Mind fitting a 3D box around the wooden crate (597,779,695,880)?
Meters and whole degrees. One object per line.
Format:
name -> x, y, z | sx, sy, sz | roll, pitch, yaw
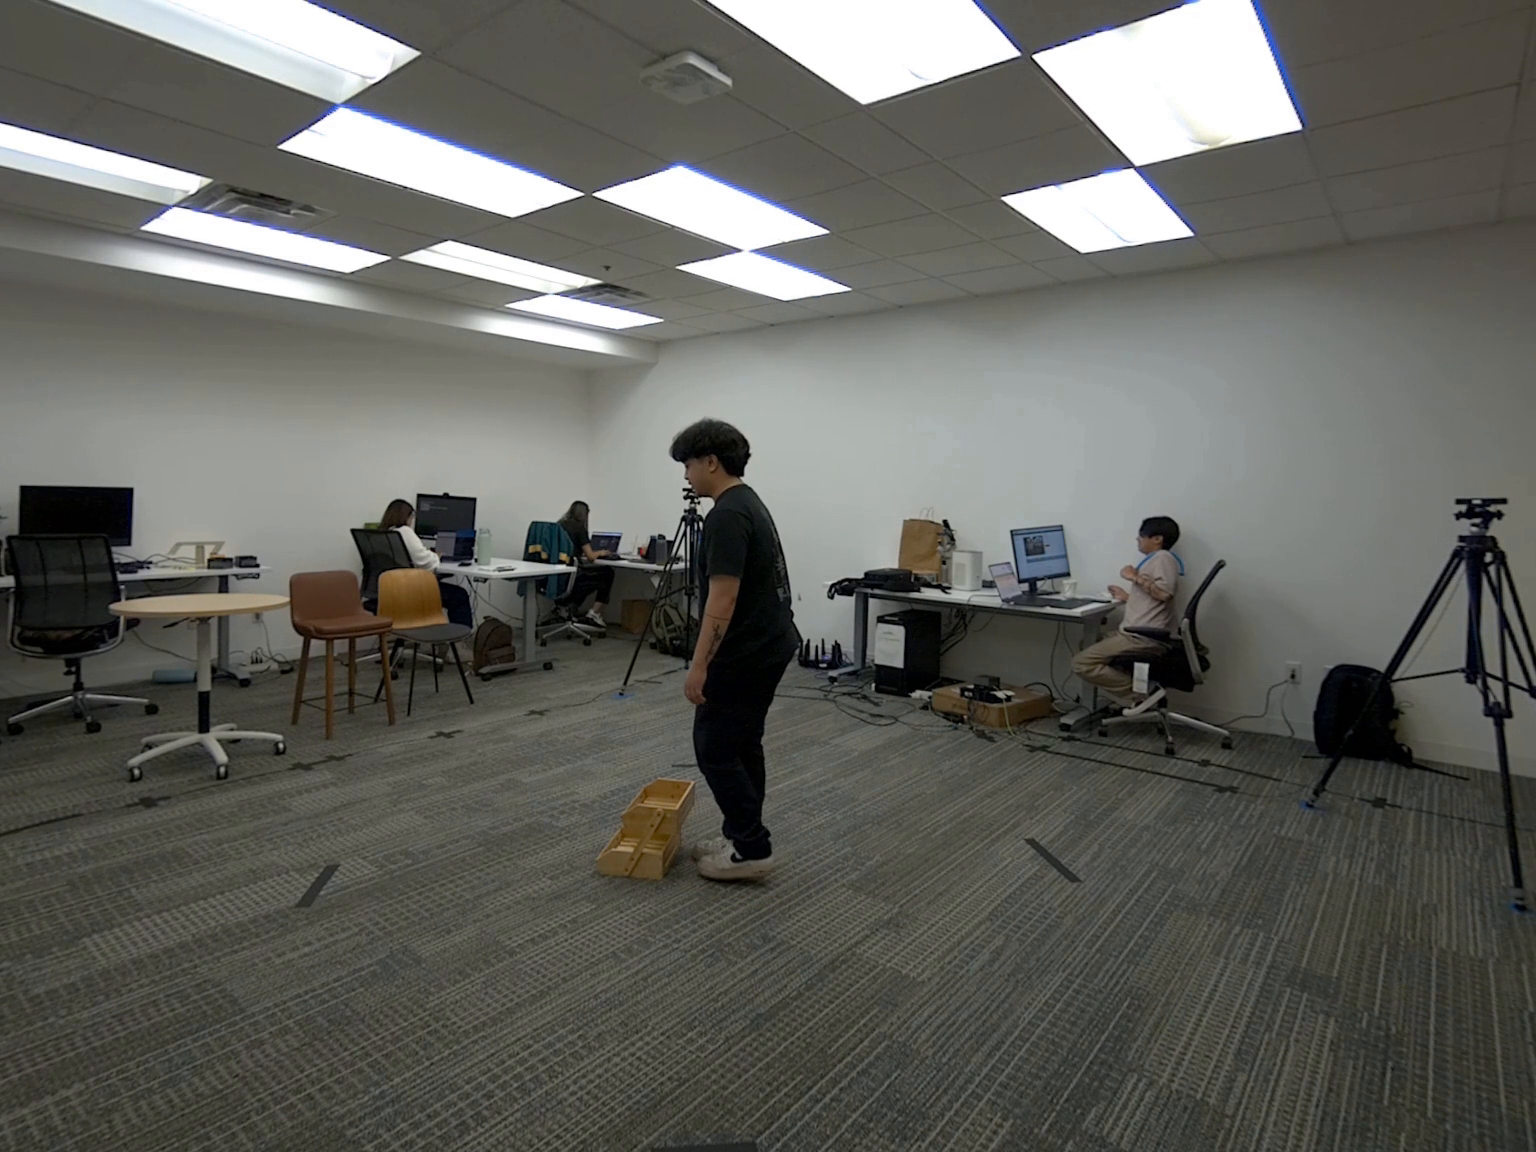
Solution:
wooden crate -> -0.467, 0.927, 3.178 | 0.305, 0.272, 0.322 | 1, 4, 8
